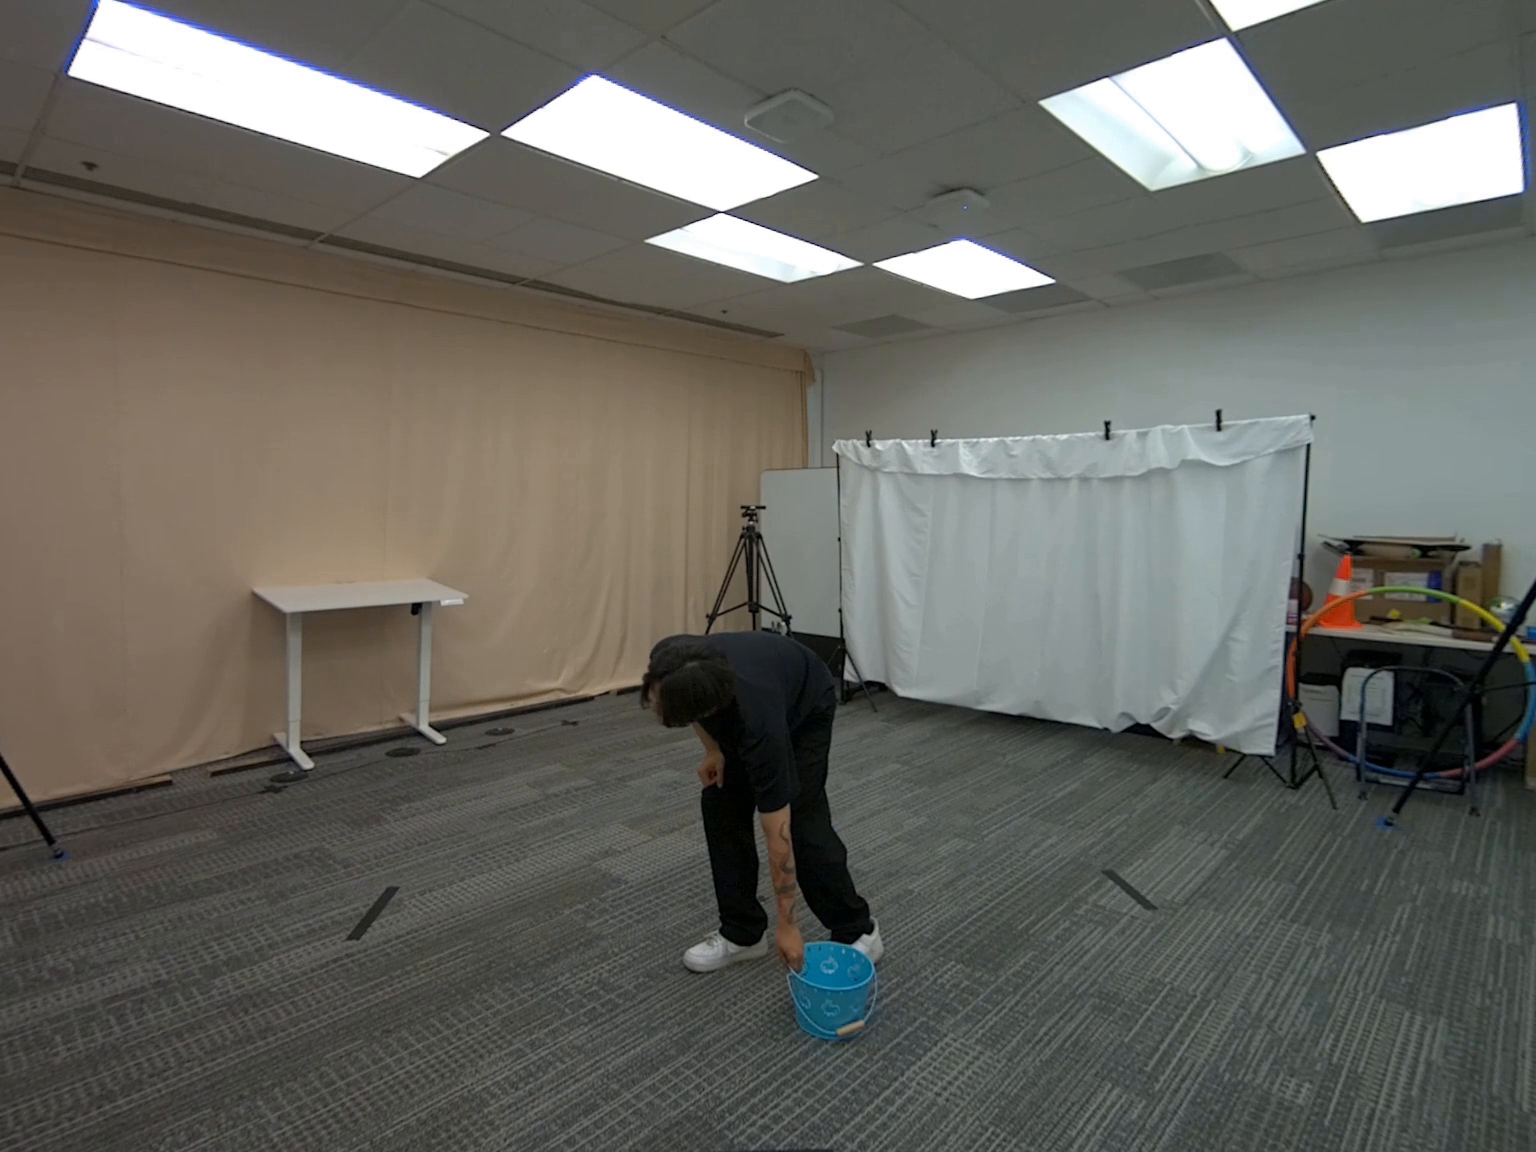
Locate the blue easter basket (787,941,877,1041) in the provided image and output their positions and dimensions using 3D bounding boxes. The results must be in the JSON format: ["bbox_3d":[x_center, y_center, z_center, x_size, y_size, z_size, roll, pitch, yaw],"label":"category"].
[{"bbox_3d":[0.173,1.121,2.284,0.243,0.155,0.244,1,4,-2],"label":"blue easter basket"}]
